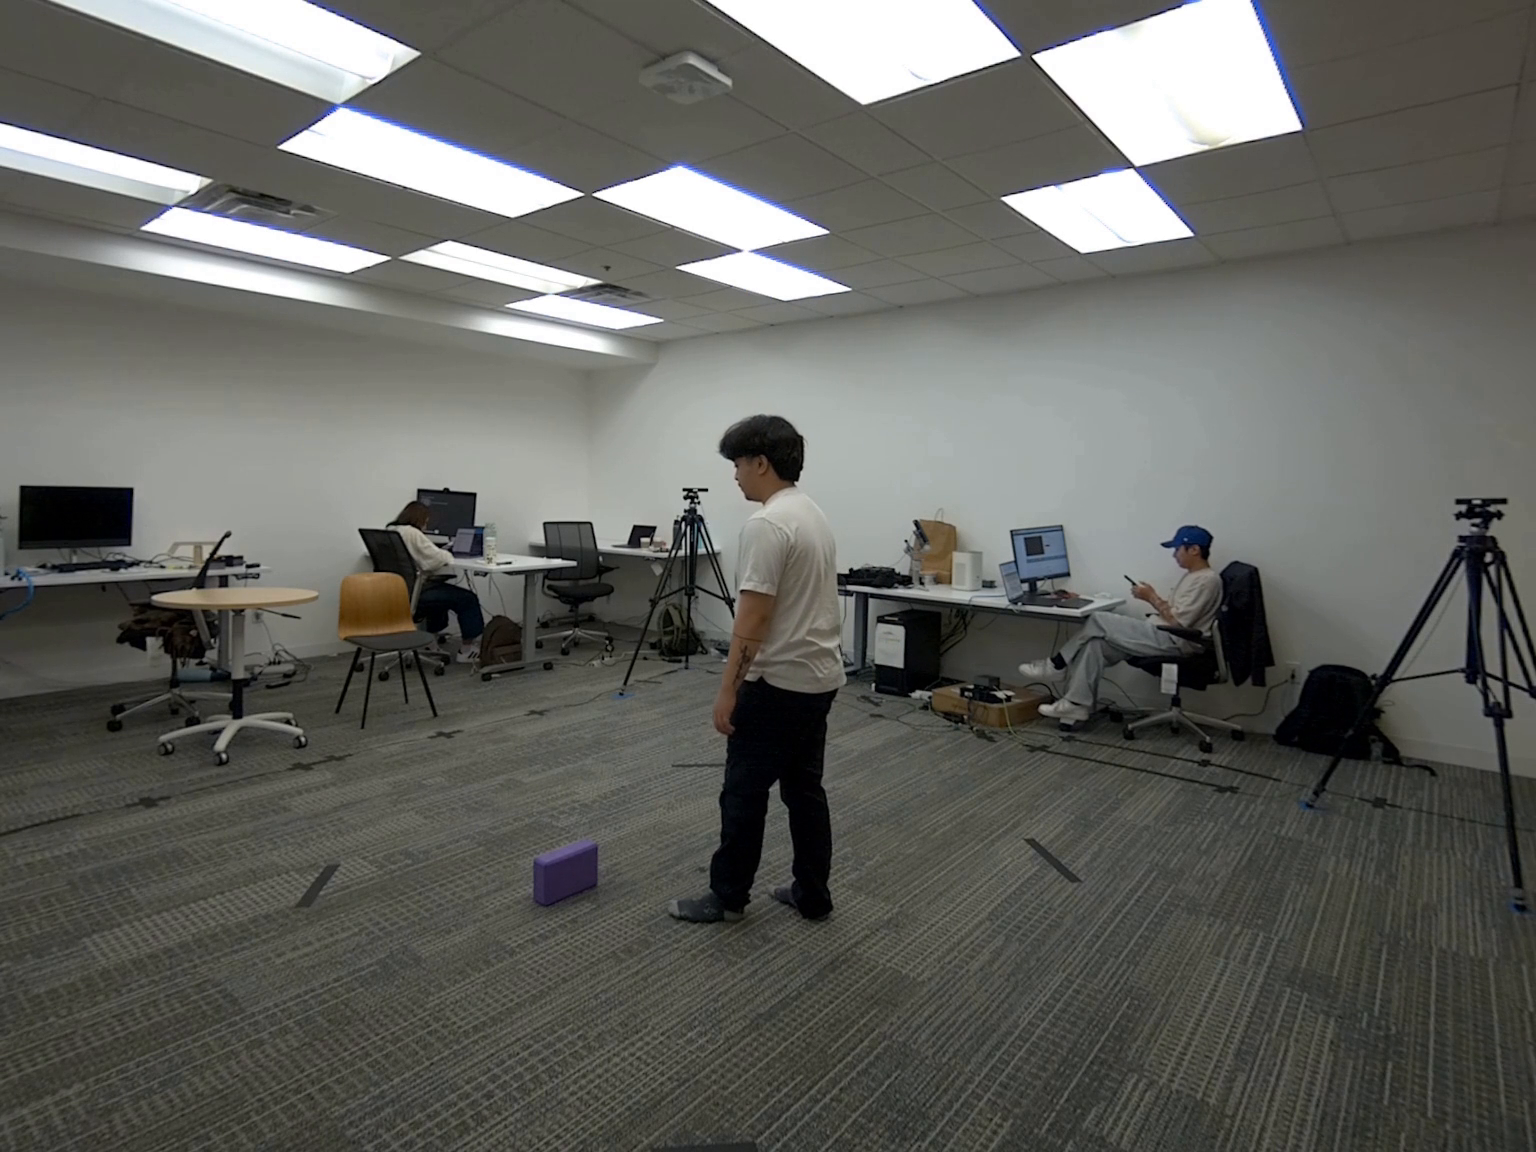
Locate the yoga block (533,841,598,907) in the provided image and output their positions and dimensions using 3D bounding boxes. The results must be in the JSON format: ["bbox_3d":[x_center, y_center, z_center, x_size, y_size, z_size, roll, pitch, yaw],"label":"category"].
[{"bbox_3d":[-0.700,1.005,2.905,0.079,0.148,0.223,4,7,42],"label":"yoga block"}]
